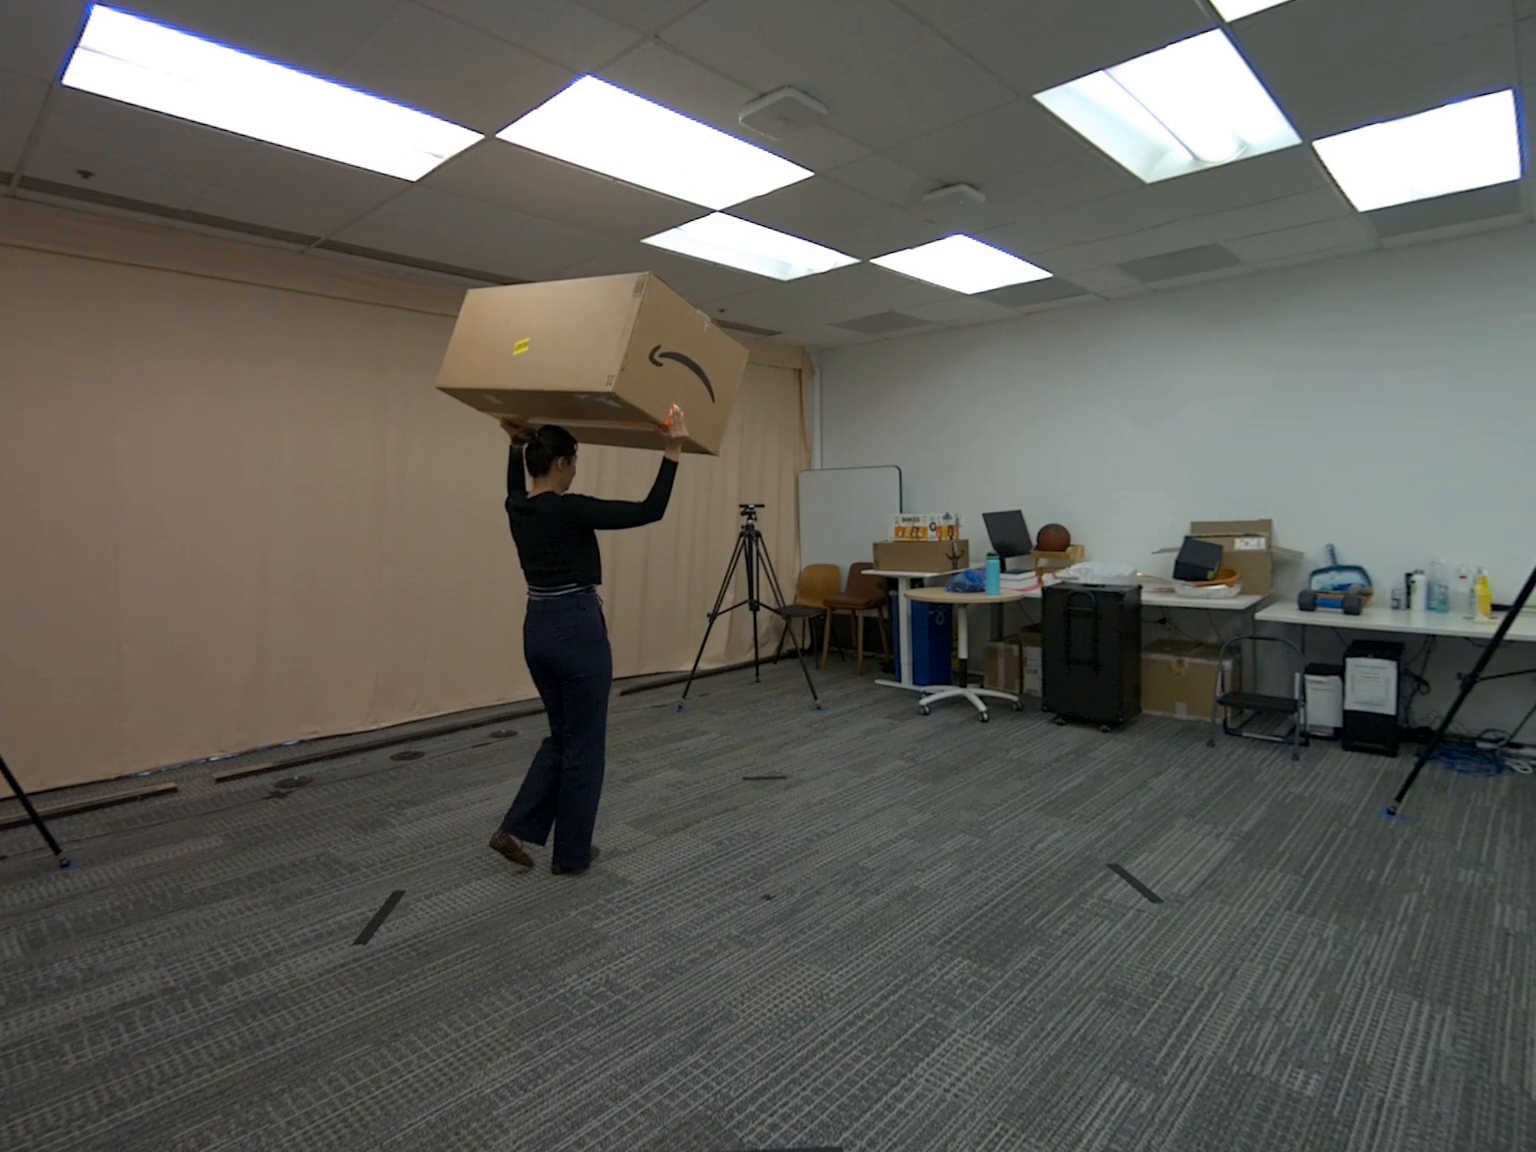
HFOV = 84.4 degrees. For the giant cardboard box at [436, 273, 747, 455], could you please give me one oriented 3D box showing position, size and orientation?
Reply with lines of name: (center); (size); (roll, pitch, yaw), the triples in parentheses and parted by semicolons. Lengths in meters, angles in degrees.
giant cardboard box: (-0.682, -0.779, 3.209); (1.061, 0.427, 0.557); (11, -9, 38)
